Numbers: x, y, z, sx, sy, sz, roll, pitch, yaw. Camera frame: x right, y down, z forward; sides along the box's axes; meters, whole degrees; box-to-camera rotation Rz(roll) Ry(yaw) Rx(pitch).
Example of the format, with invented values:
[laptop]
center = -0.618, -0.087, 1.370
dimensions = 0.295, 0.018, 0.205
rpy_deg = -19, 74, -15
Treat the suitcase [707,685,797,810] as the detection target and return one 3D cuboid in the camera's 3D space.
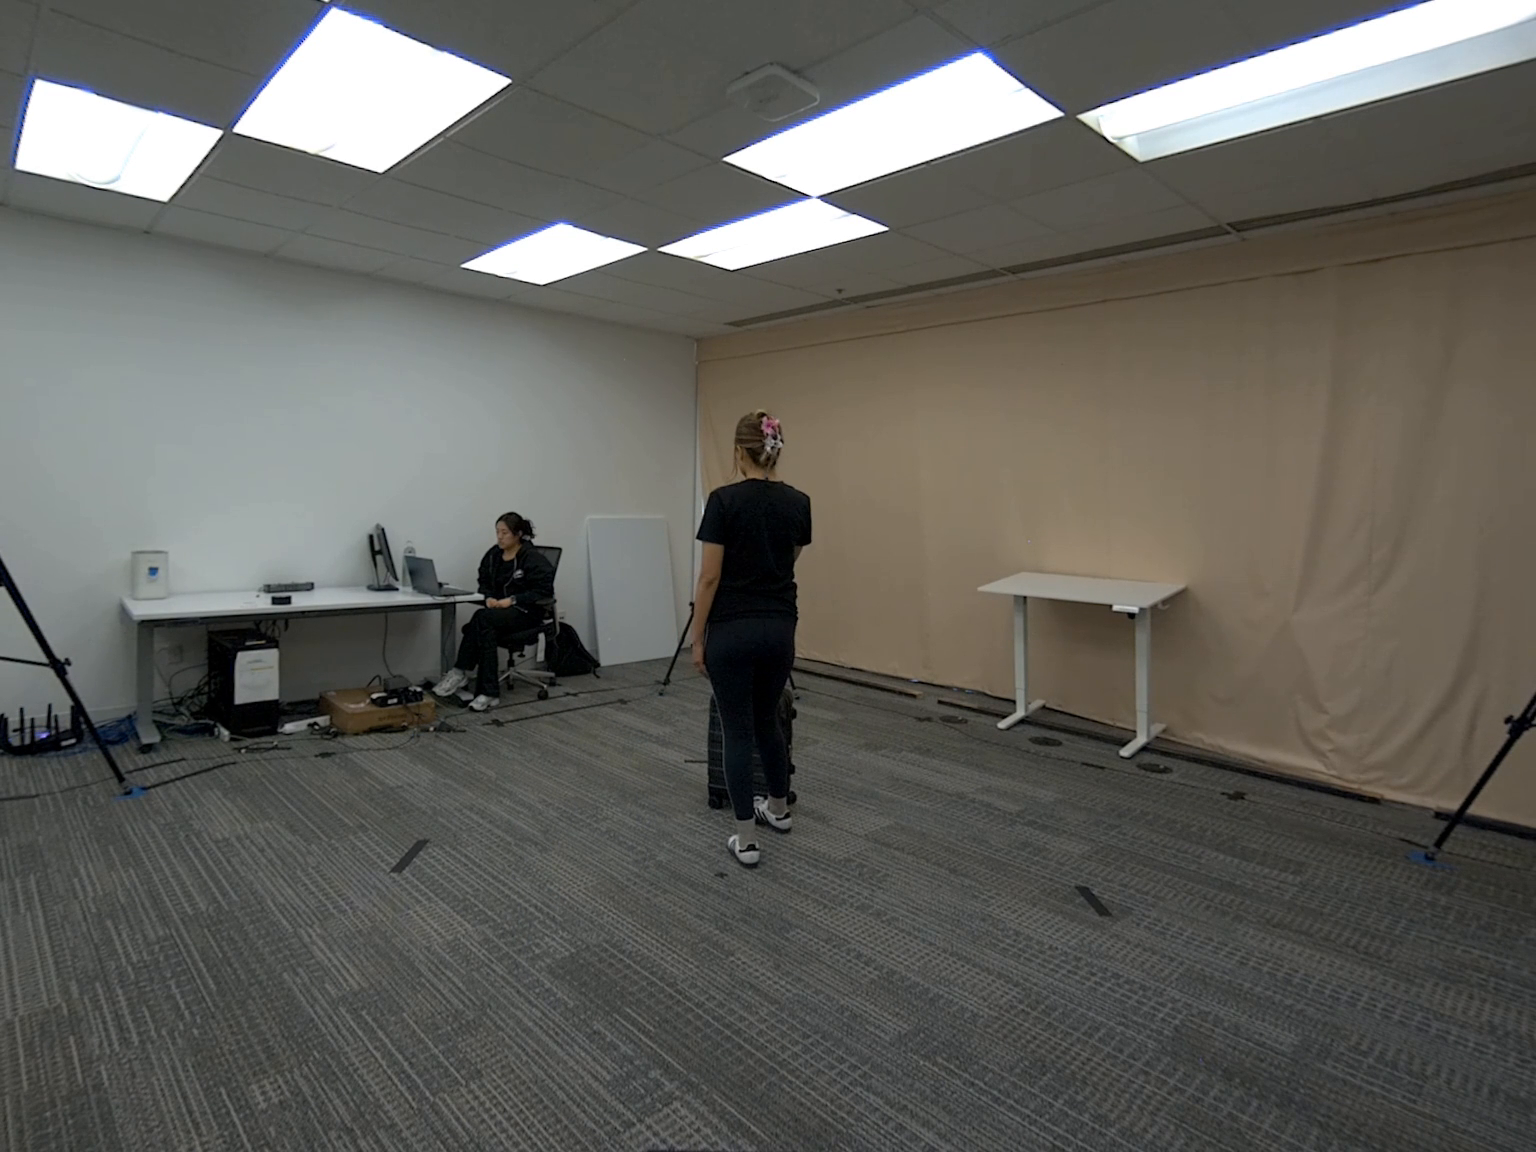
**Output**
[suitcase]
center = -0.077, 0.565, 3.831
dimensions = 0.390, 0.978, 0.253
rpy_deg = 2, 0, 20
